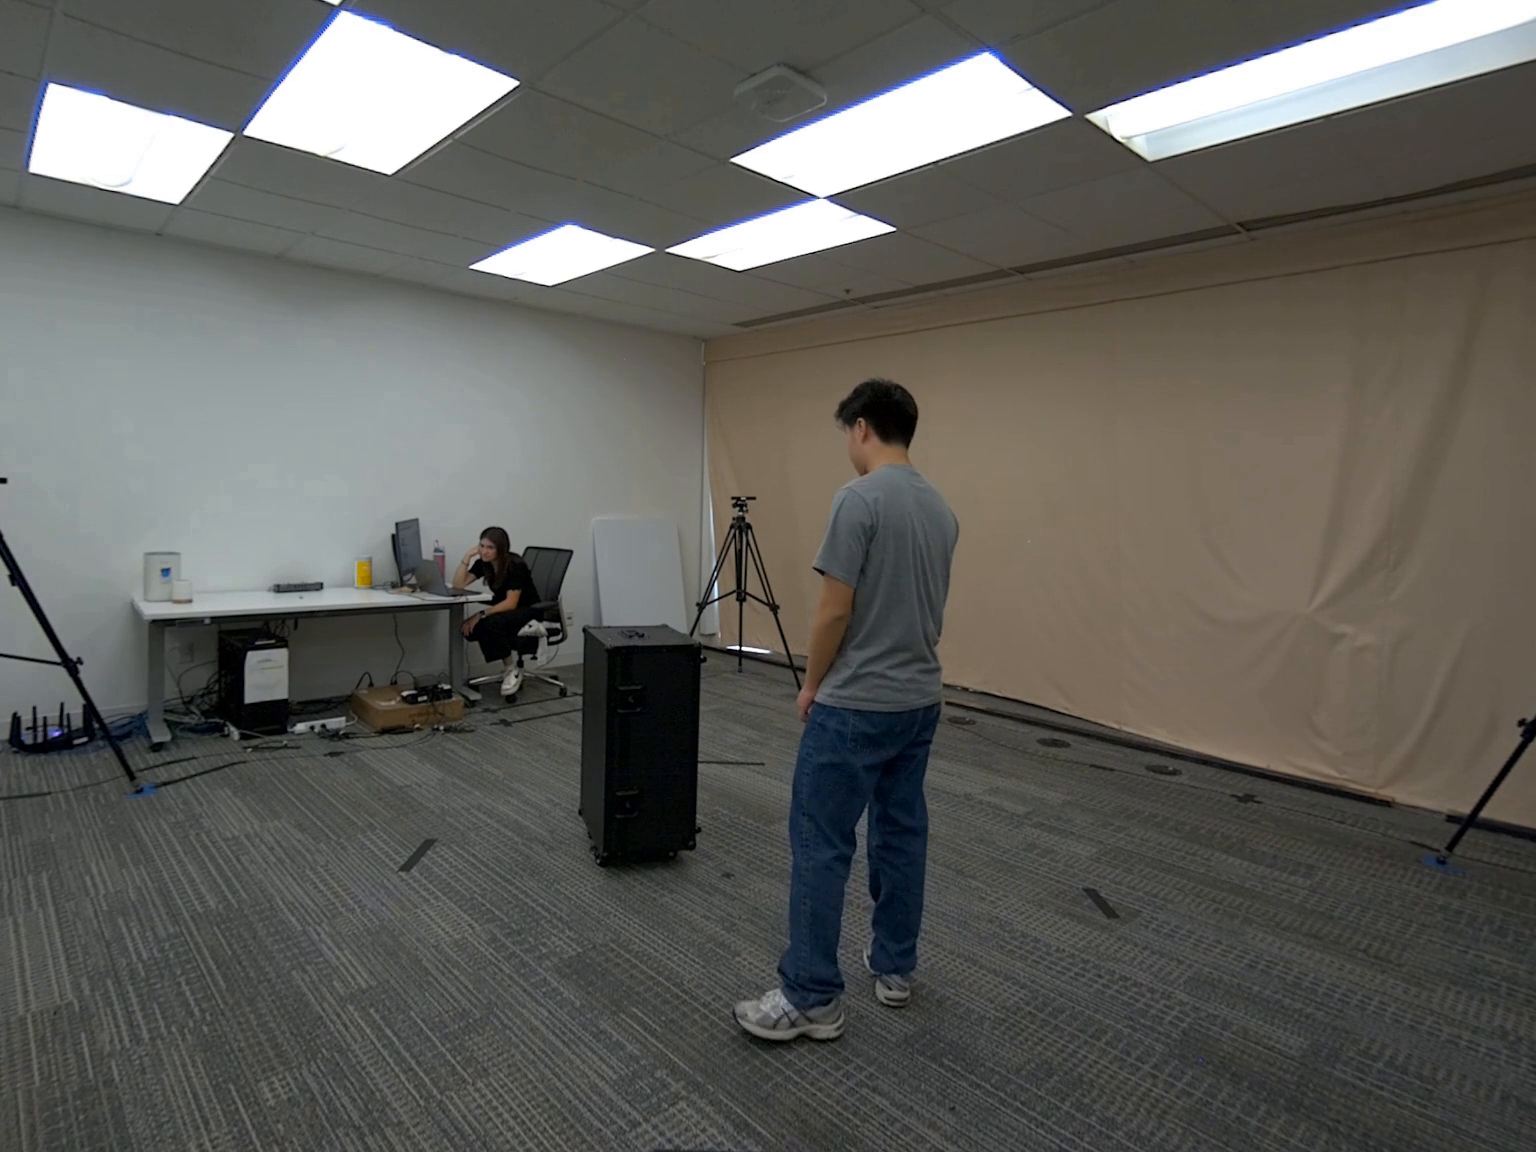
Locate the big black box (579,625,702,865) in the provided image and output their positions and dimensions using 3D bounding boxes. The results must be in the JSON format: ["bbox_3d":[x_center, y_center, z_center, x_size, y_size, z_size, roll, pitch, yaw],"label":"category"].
[{"bbox_3d":[-0.514,0.652,3.312,0.390,0.860,0.531,2,3,-22],"label":"big black box"}]
